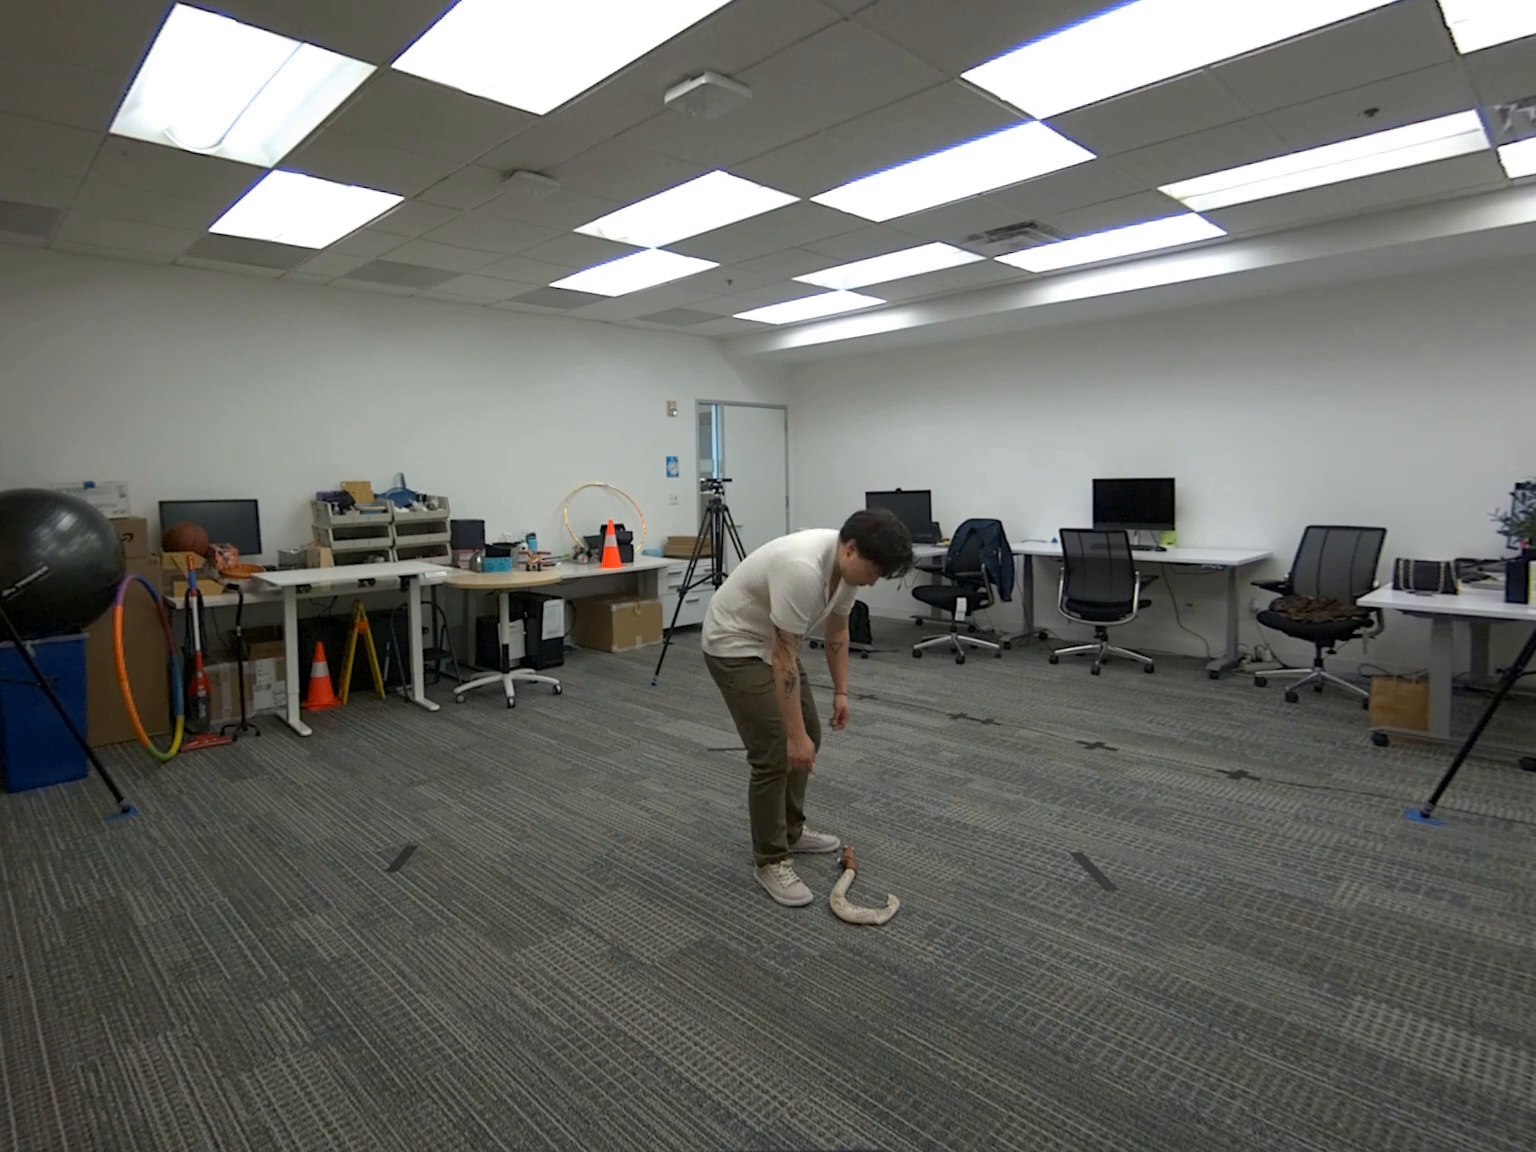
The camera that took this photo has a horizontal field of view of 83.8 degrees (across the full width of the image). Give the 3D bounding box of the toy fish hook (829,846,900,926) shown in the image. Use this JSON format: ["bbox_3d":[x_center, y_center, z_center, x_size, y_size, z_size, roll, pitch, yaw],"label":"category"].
[{"bbox_3d":[0.325,1.040,2.908,0.226,0.048,0.506,7,8,5],"label":"toy fish hook"}]
